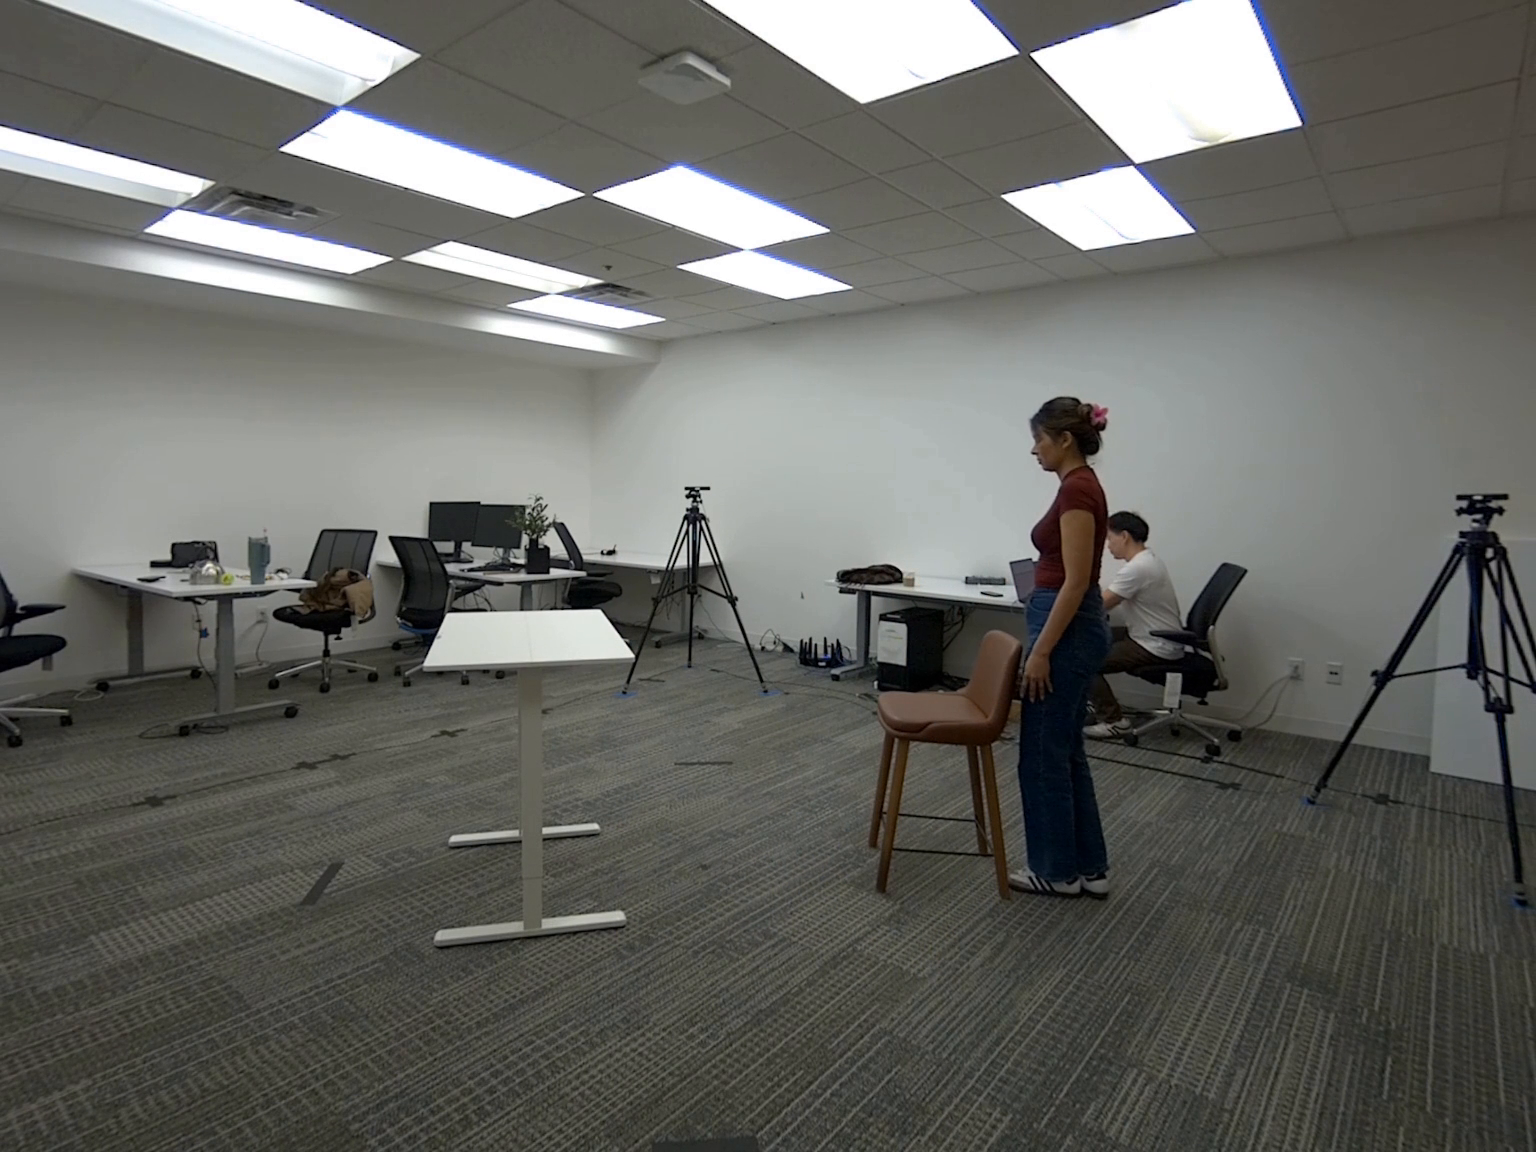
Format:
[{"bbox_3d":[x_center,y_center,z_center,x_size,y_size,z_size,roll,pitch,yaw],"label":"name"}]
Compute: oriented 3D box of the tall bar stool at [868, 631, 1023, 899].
[{"bbox_3d":[0.624,0.648,3.101,0.470,0.887,0.455,3,4,4],"label":"tall bar stool"}]
